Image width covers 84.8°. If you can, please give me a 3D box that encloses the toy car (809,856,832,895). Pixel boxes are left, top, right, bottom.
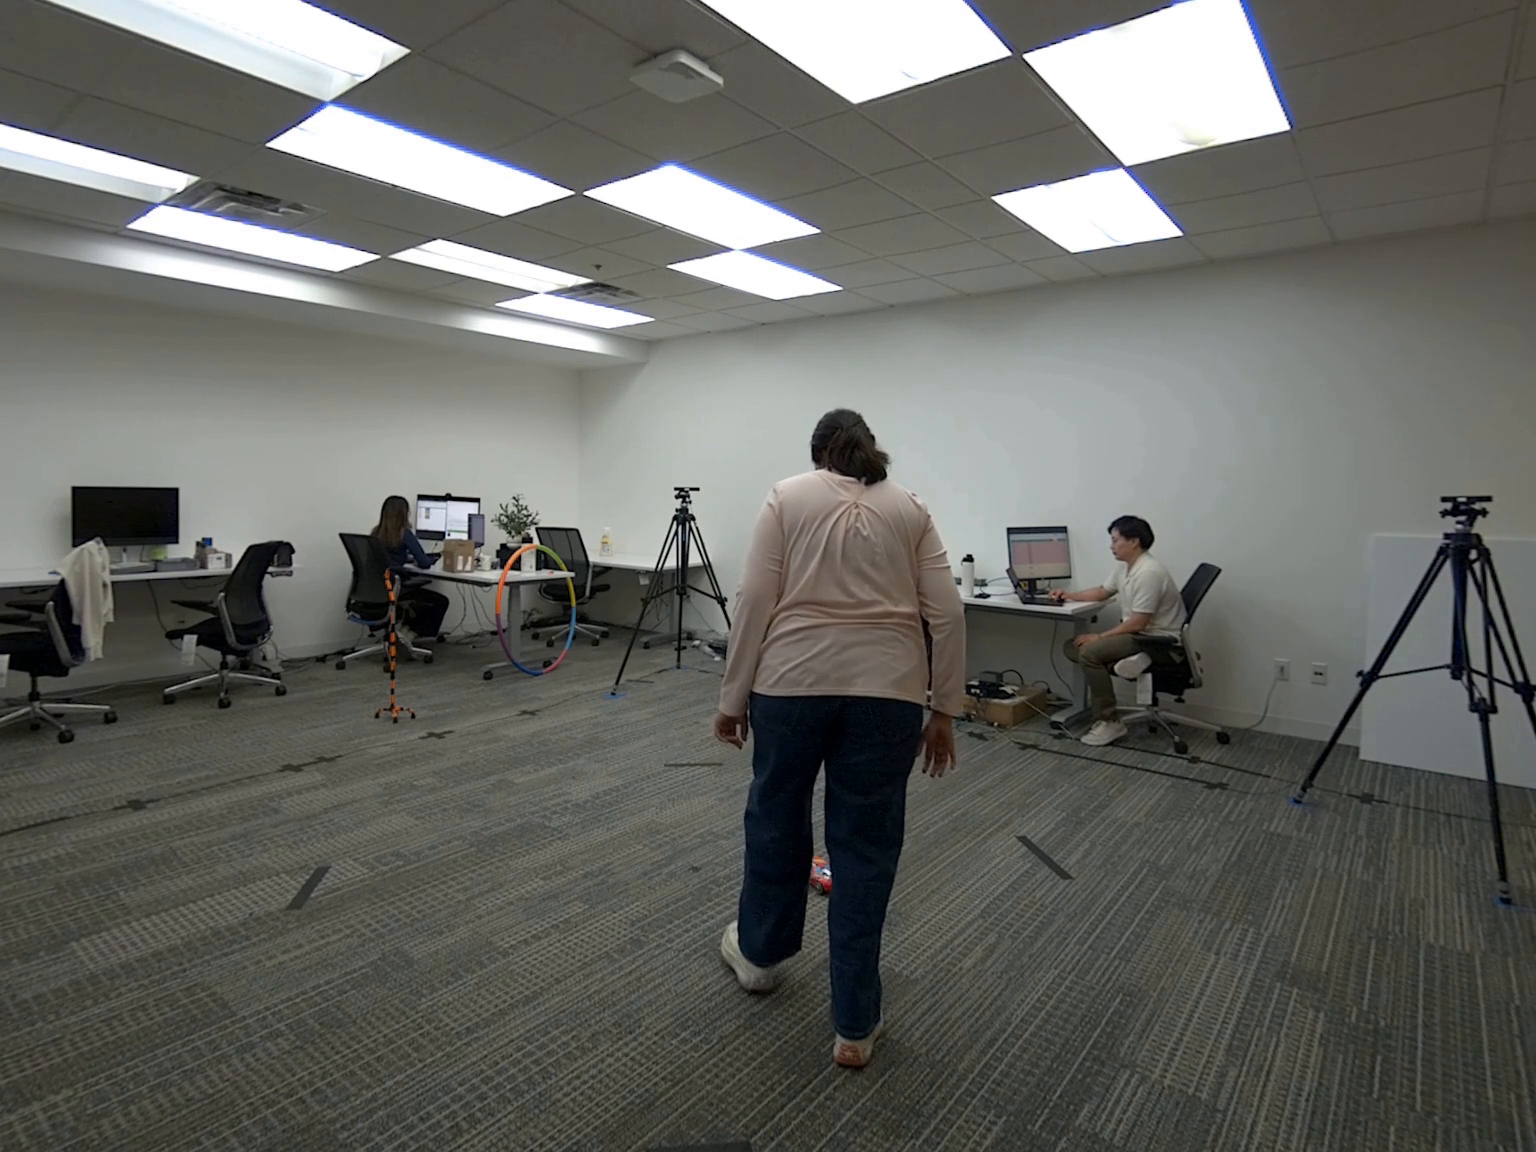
[{"bbox_3d":[0.162,1.048,3.037,0.127,0.082,0.264,-2,16,-33],"label":"toy car"}]
